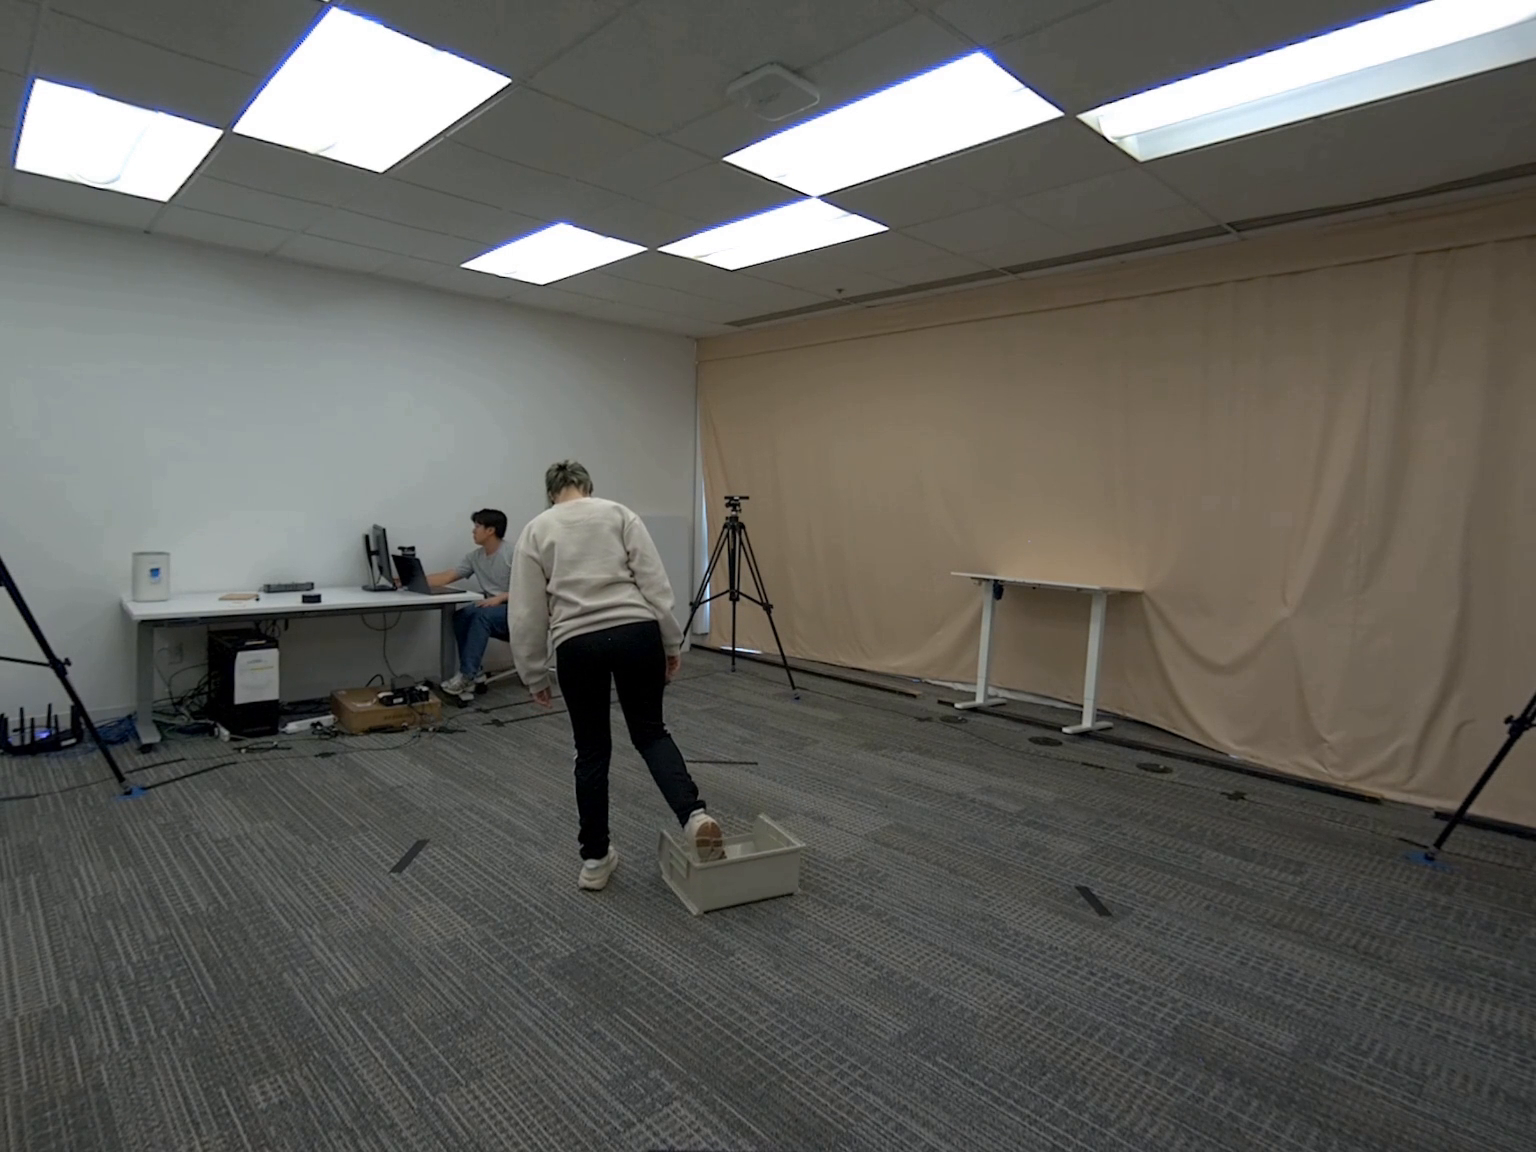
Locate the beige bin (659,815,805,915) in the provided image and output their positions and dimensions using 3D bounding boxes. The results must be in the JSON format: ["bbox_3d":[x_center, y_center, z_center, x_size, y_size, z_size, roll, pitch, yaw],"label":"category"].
[{"bbox_3d":[-0.149,1.019,3.033,0.414,0.188,0.386,0,6,-27],"label":"beige bin"}]
